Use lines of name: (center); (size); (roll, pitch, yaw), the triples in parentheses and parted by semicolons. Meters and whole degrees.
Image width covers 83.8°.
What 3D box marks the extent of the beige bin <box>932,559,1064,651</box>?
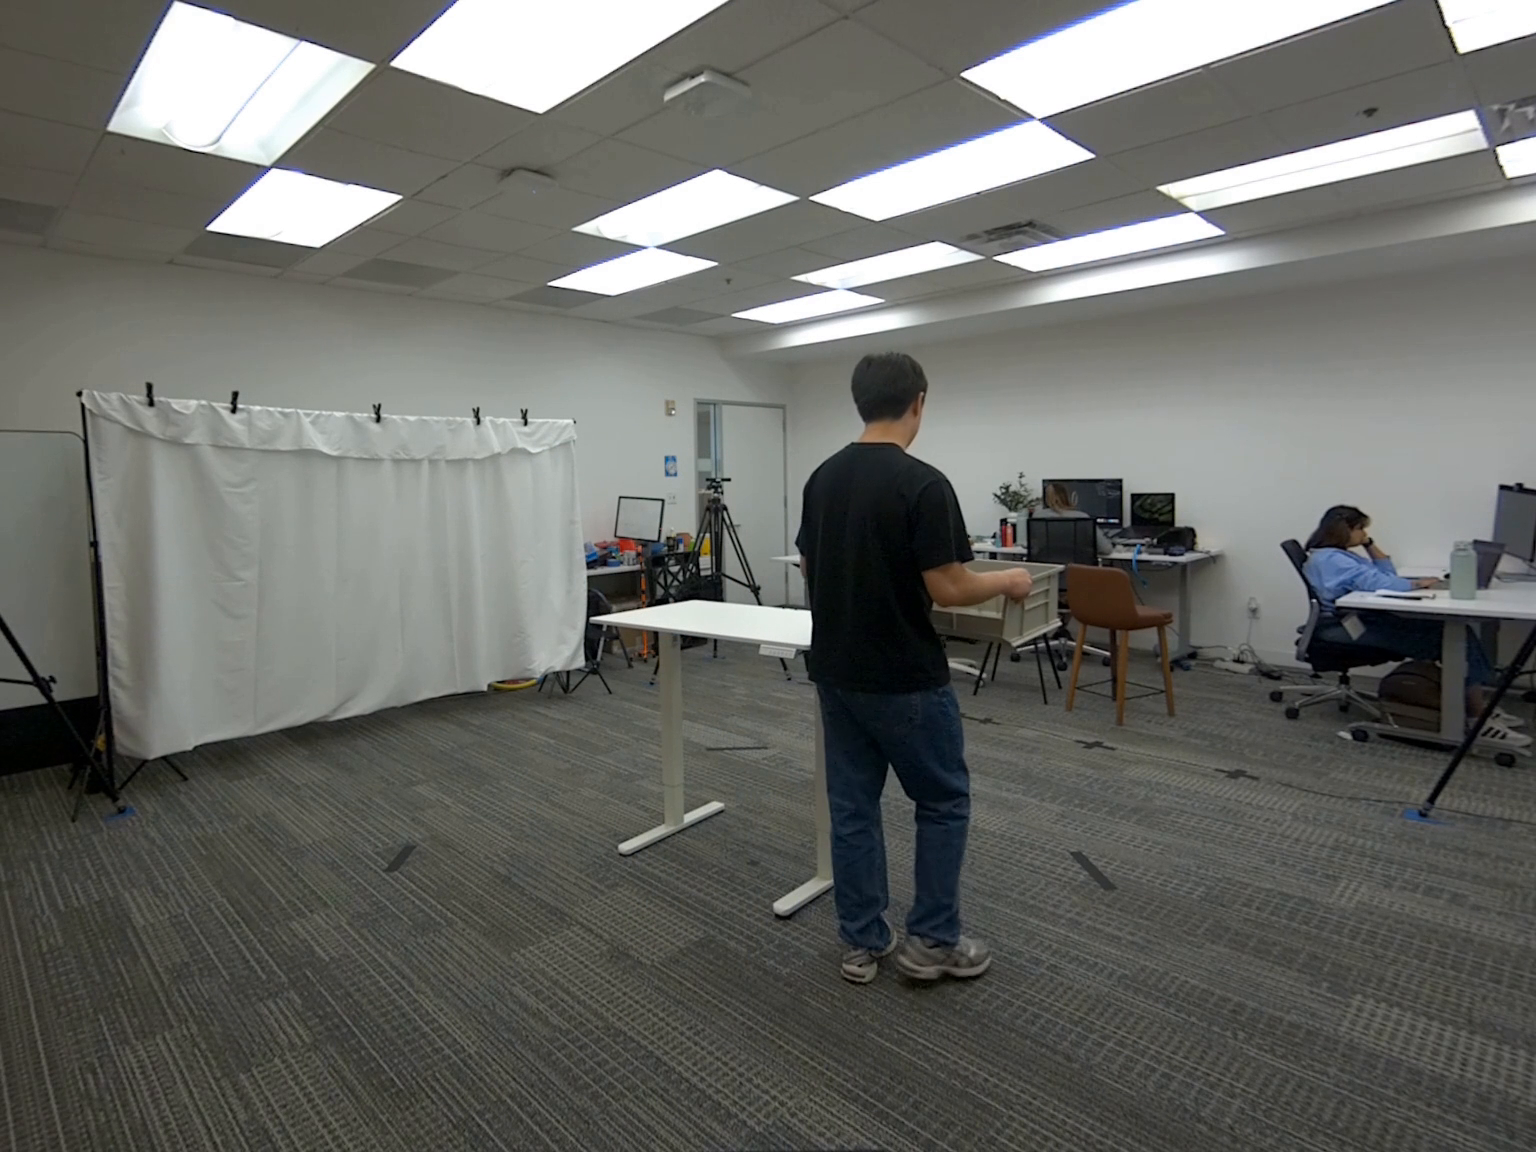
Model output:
beige bin: (0.612, 0.073, 2.589); (0.435, 0.188, 0.368); (4, 9, 44)
